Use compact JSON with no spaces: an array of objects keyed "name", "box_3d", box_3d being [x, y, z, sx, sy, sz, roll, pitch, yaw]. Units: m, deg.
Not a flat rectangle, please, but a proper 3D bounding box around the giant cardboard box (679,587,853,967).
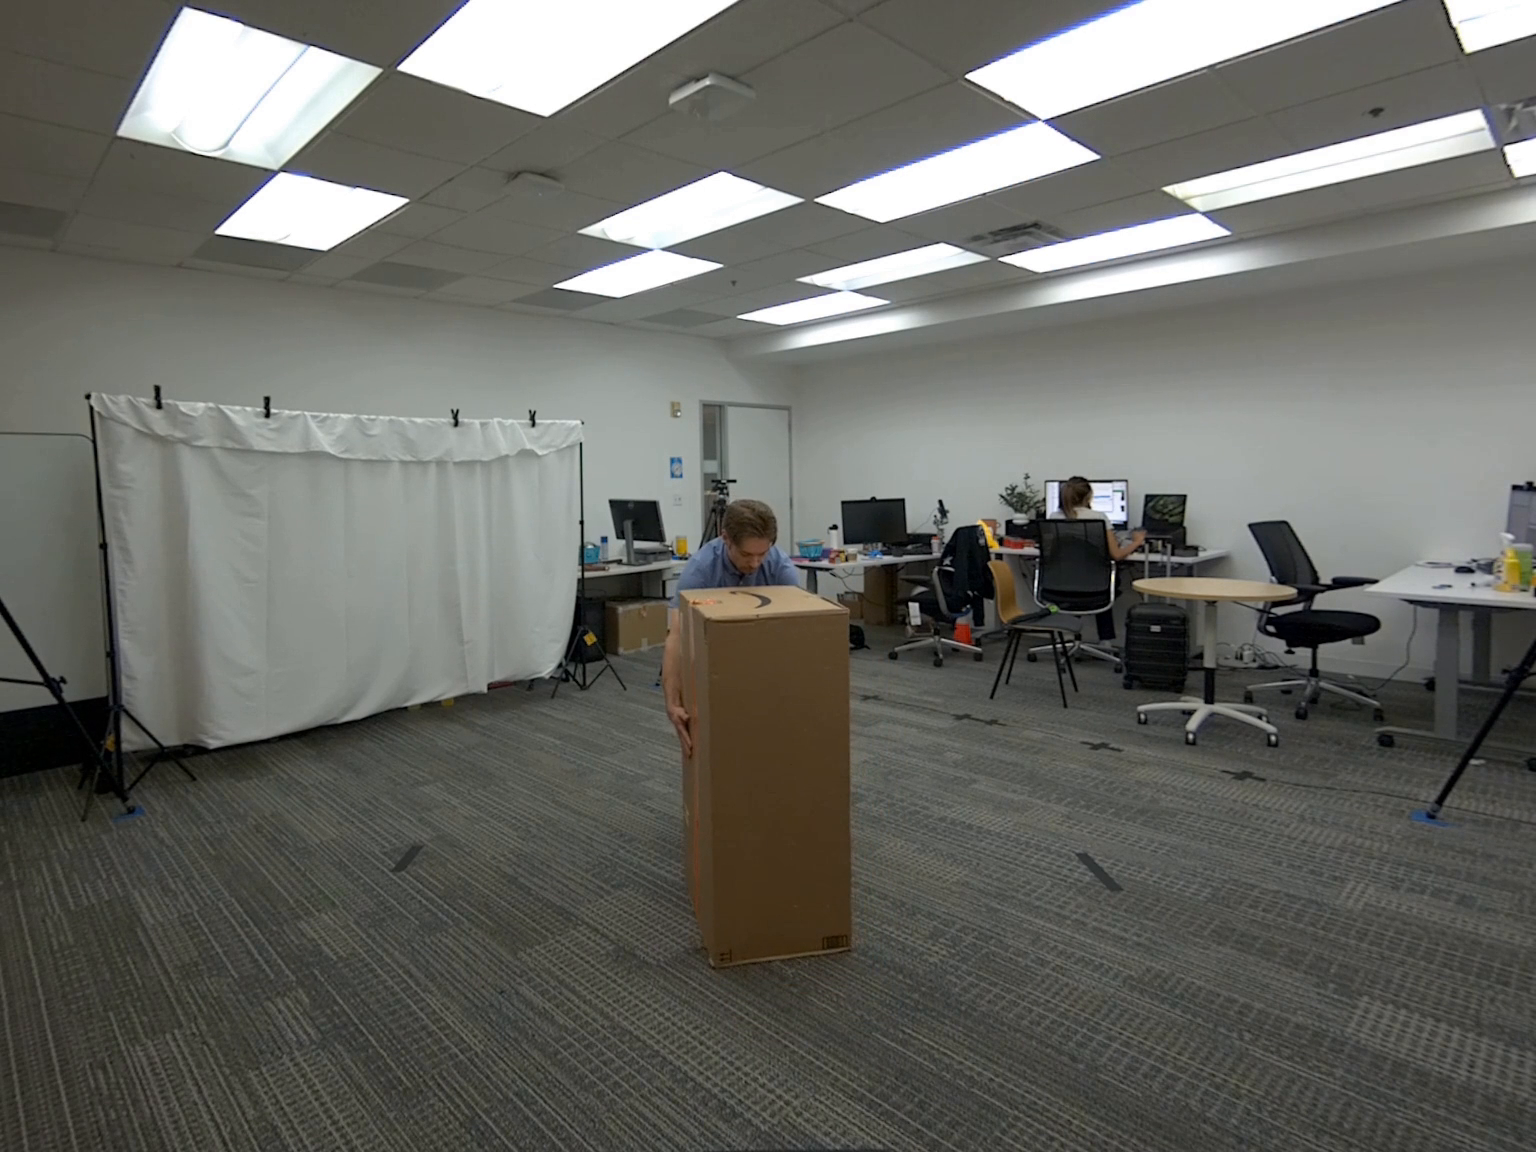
[{"name":"giant cardboard box","box_3d":[-0.033,0.584,2.729,0.421,1.022,0.586,-2,4,-13]}]
